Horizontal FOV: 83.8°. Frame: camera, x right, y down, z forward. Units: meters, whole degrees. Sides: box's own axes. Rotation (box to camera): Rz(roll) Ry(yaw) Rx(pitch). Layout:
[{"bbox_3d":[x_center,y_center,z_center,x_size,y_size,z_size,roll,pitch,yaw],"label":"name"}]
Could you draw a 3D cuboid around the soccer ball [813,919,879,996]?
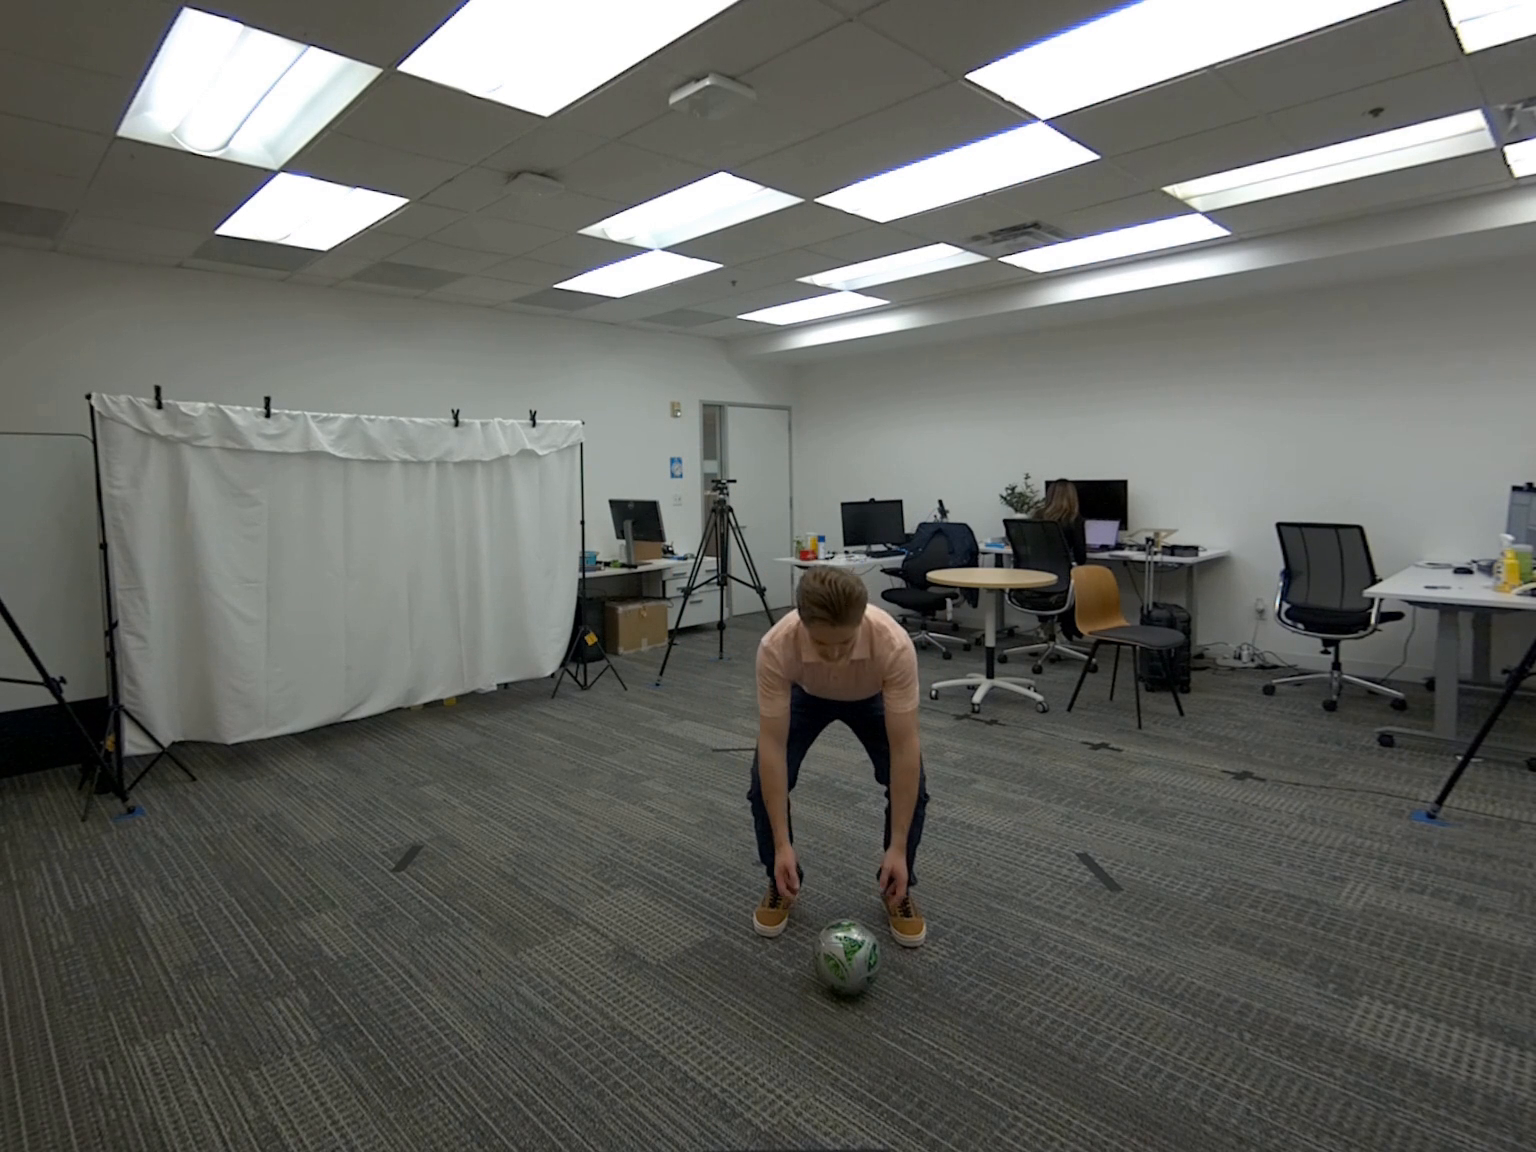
[{"bbox_3d":[0.223,1.038,2.331,0.187,0.187,0.188,-1,5,-2],"label":"soccer ball"}]
